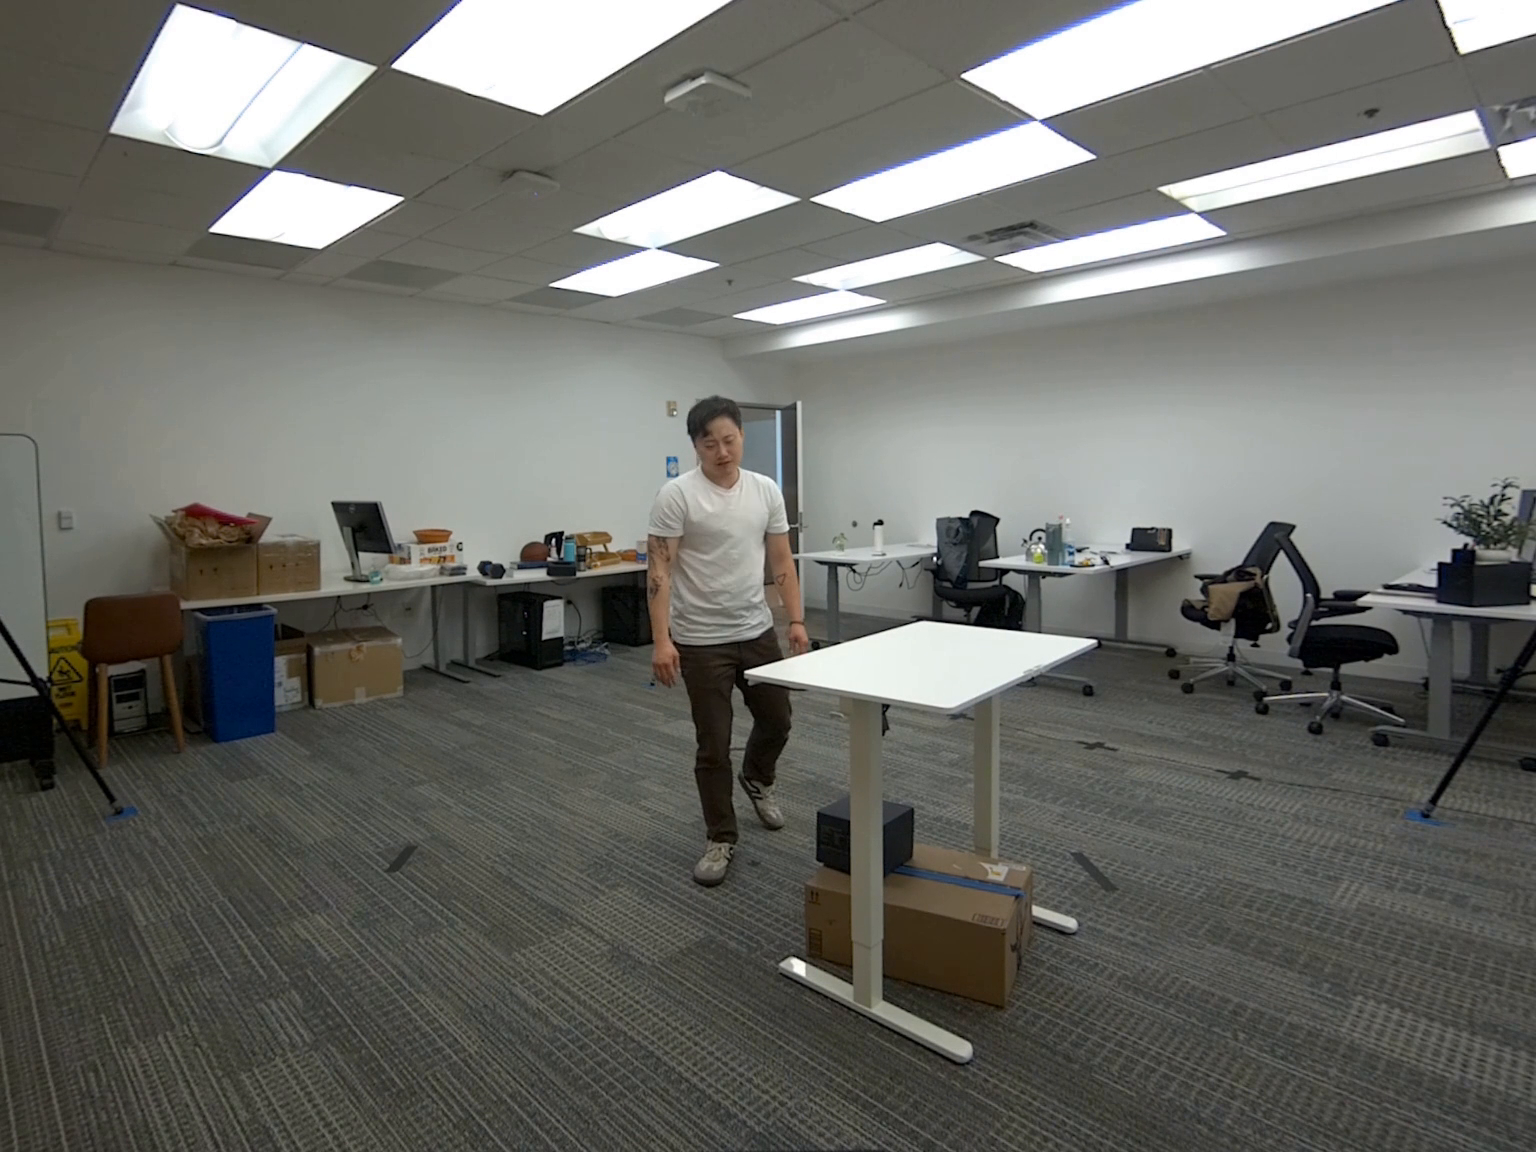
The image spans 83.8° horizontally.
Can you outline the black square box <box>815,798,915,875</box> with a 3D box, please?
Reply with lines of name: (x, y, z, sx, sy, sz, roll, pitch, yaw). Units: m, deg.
black square box: (0.307, 0.791, 2.622, 0.223, 0.155, 0.222, 3, 5, 37)
